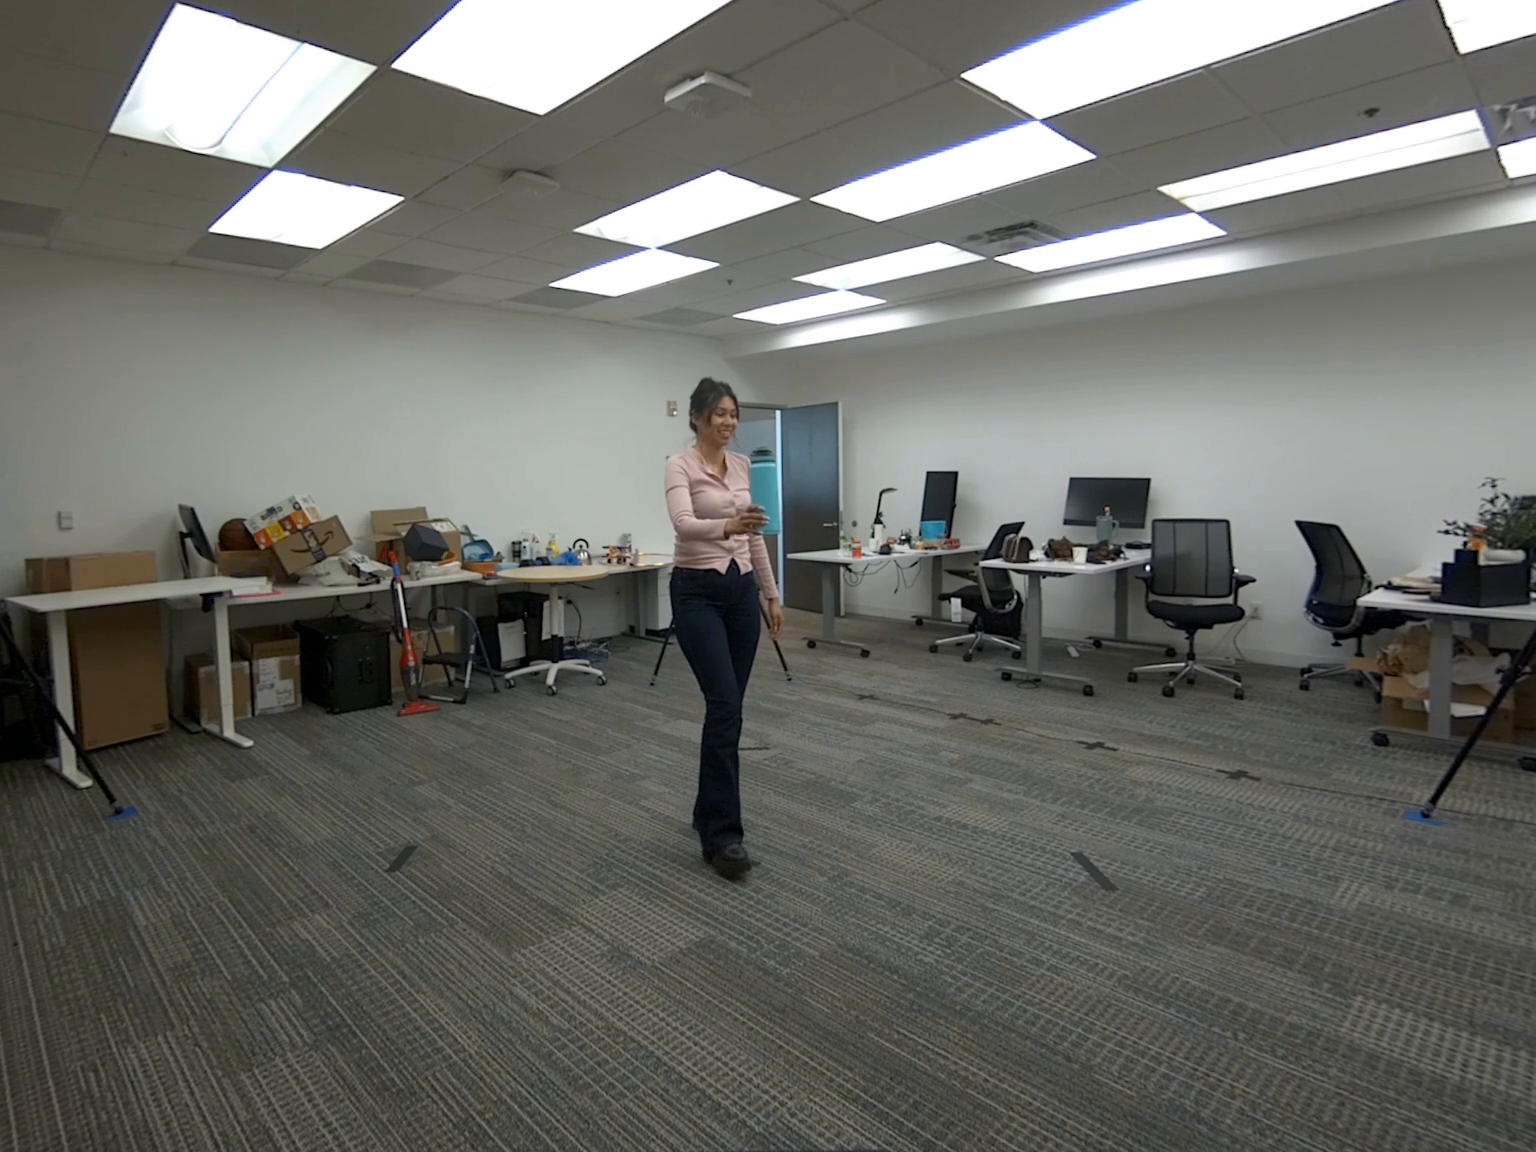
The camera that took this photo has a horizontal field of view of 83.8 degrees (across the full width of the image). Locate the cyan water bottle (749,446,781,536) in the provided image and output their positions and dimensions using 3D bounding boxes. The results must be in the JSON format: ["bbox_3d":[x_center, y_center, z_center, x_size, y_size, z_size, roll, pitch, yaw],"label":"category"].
[{"bbox_3d":[-0.013,-0.269,2.718,0.092,0.283,0.092,-4,-1,-2],"label":"cyan water bottle"}]
